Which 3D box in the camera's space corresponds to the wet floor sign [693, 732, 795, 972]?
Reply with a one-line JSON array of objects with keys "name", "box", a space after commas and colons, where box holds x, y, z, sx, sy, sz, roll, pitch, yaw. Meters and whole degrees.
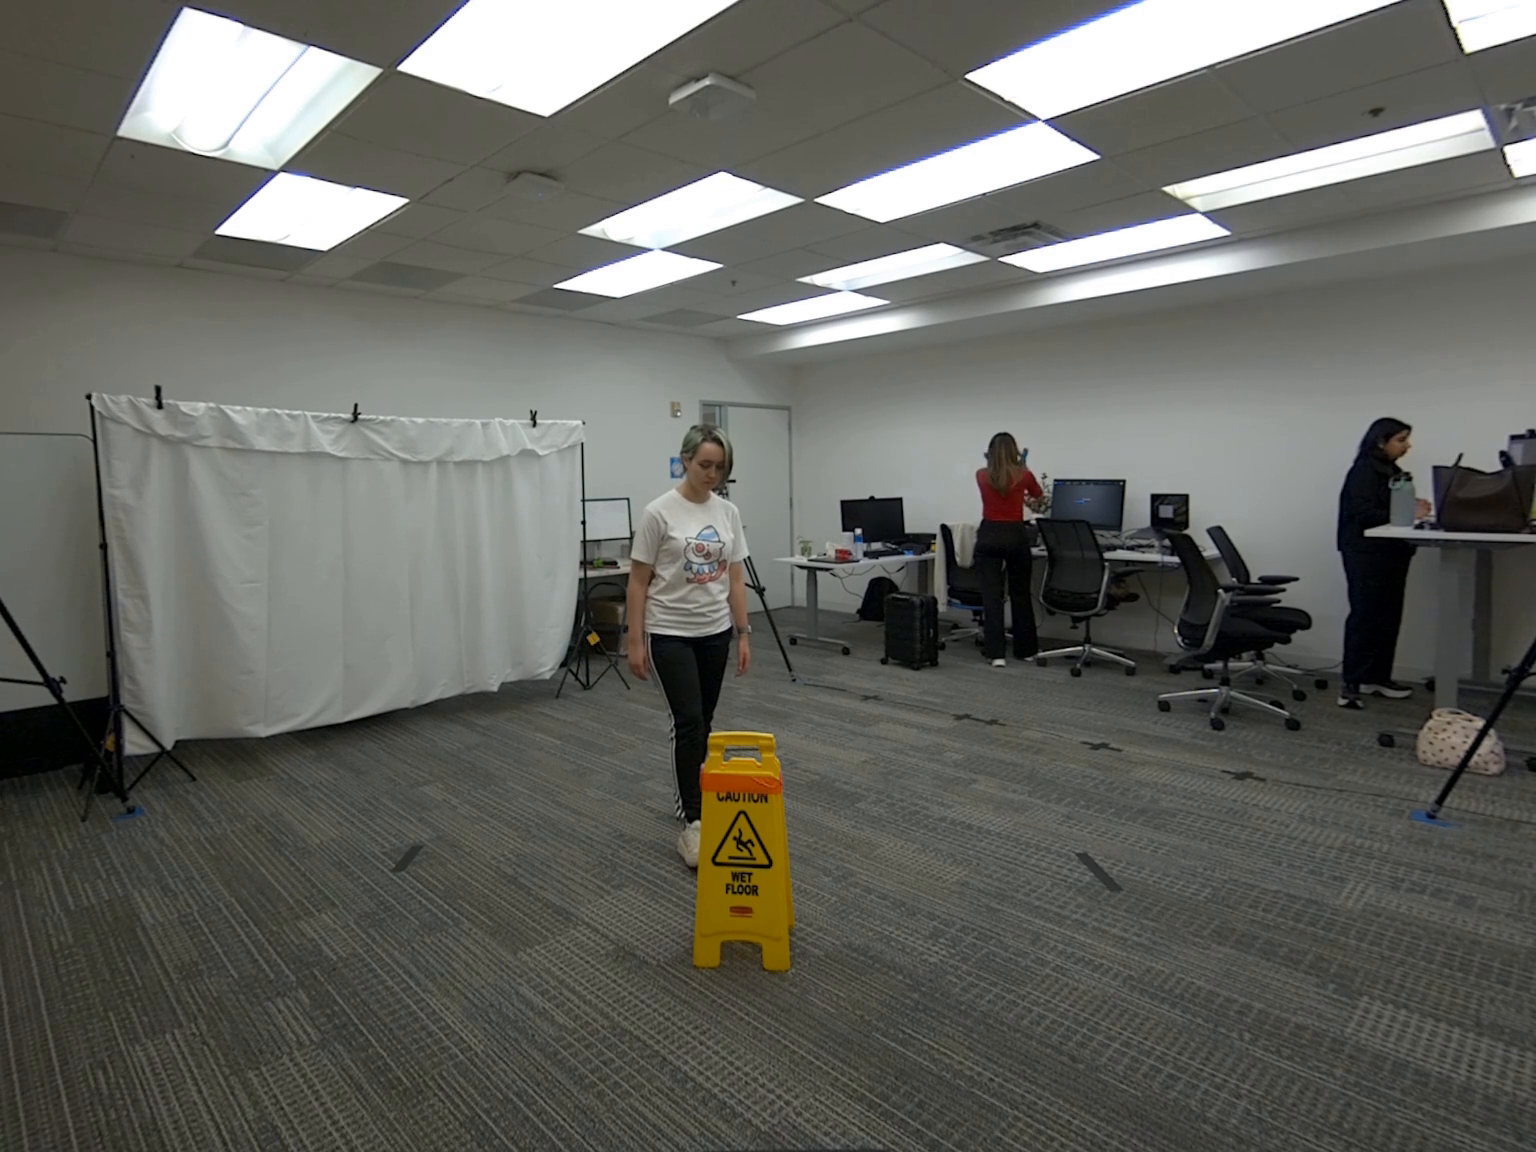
[{"name": "wet floor sign", "box": [-0.081, 0.789, 2.541, 0.284, 0.643, 0.289, -1, 4, 5]}]
